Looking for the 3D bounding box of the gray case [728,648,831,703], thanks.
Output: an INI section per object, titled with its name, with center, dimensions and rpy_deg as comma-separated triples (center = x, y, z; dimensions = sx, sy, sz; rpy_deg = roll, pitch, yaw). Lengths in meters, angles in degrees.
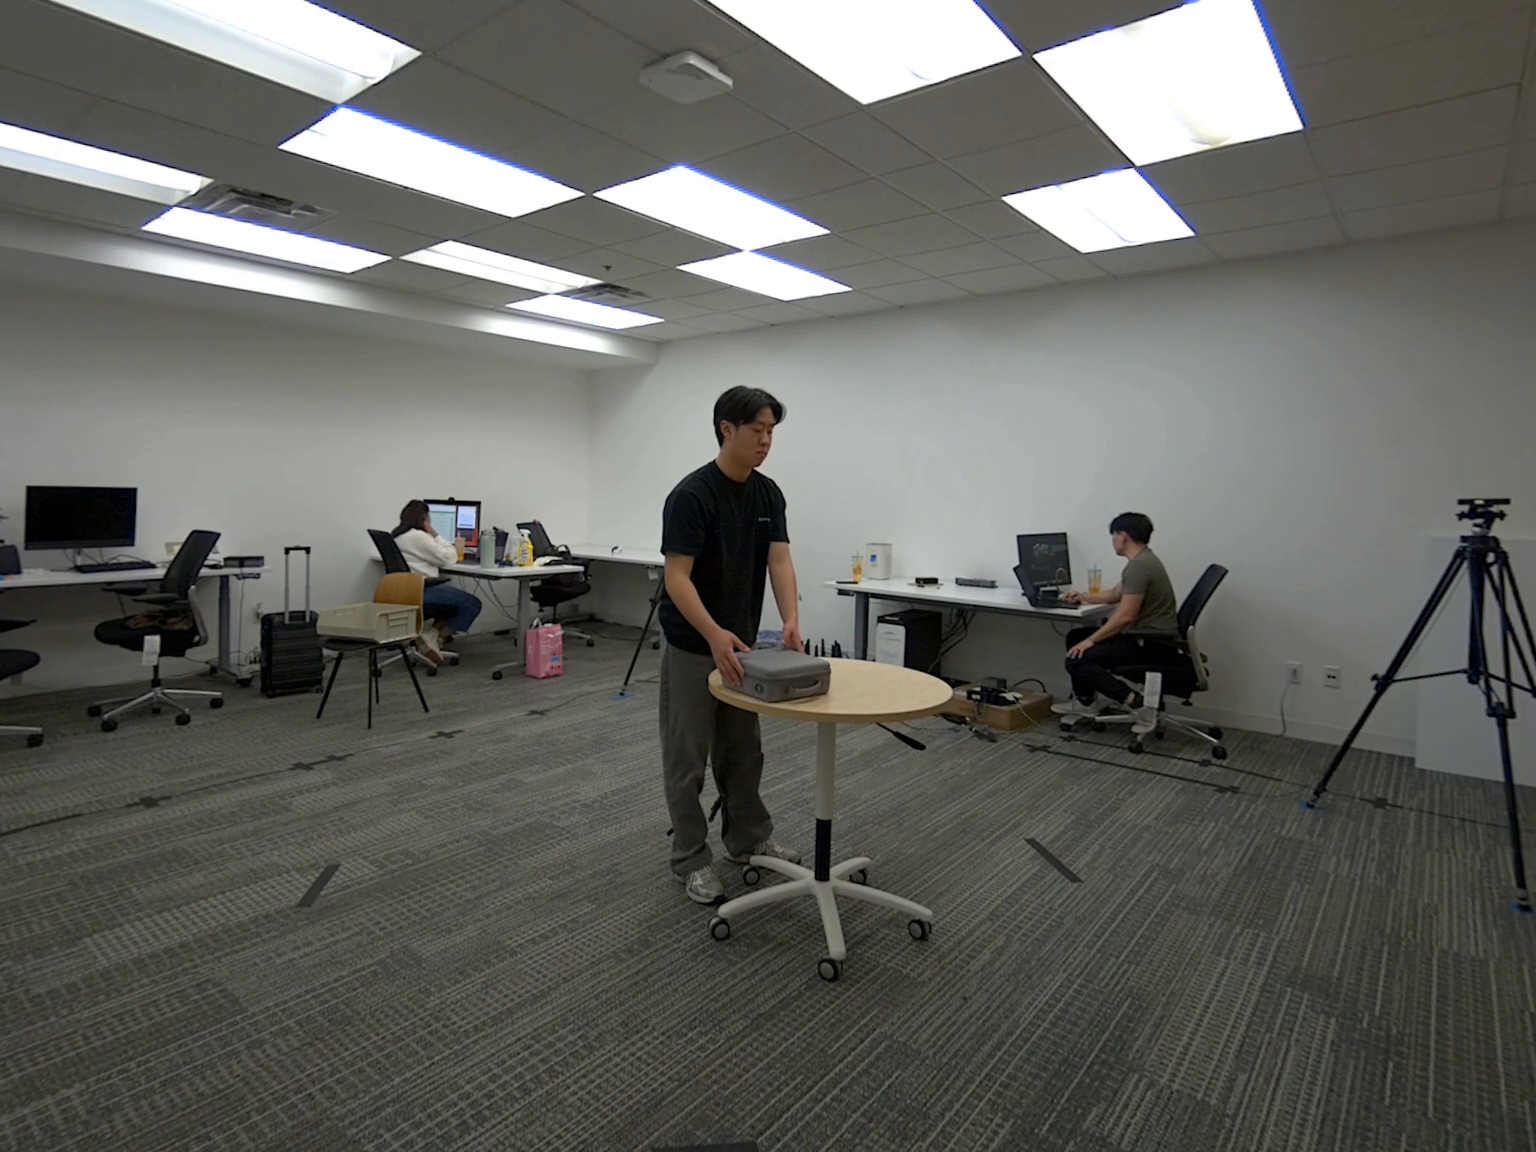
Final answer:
[gray case]
center = 0.029, 0.295, 2.564
dimensions = 0.255, 0.102, 0.297
rpy_deg = -2, 8, -37
